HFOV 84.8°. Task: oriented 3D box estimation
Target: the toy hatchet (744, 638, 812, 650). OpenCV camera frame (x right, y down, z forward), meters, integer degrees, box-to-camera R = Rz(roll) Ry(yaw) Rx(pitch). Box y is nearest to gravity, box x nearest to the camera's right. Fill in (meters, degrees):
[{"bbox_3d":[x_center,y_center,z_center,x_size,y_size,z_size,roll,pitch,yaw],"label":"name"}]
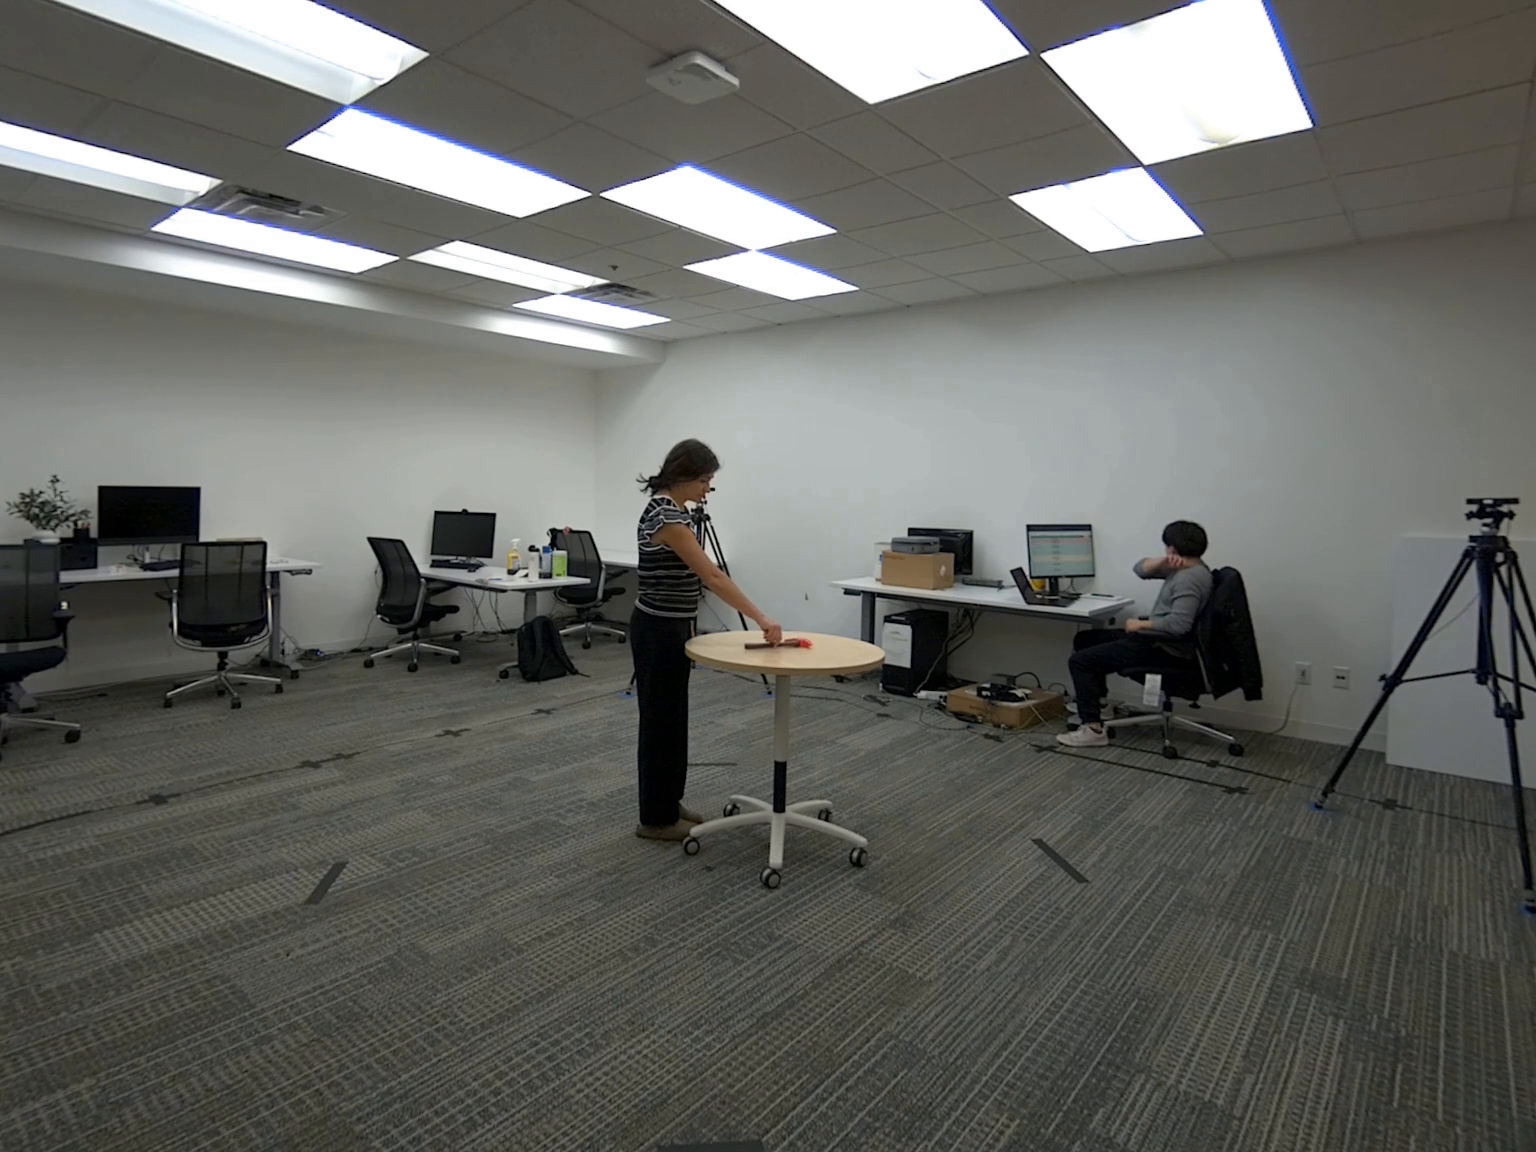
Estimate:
[{"bbox_3d":[0.019,0.256,3.300,0.267,0.029,0.133,0,8,-9],"label":"toy hatchet"}]
